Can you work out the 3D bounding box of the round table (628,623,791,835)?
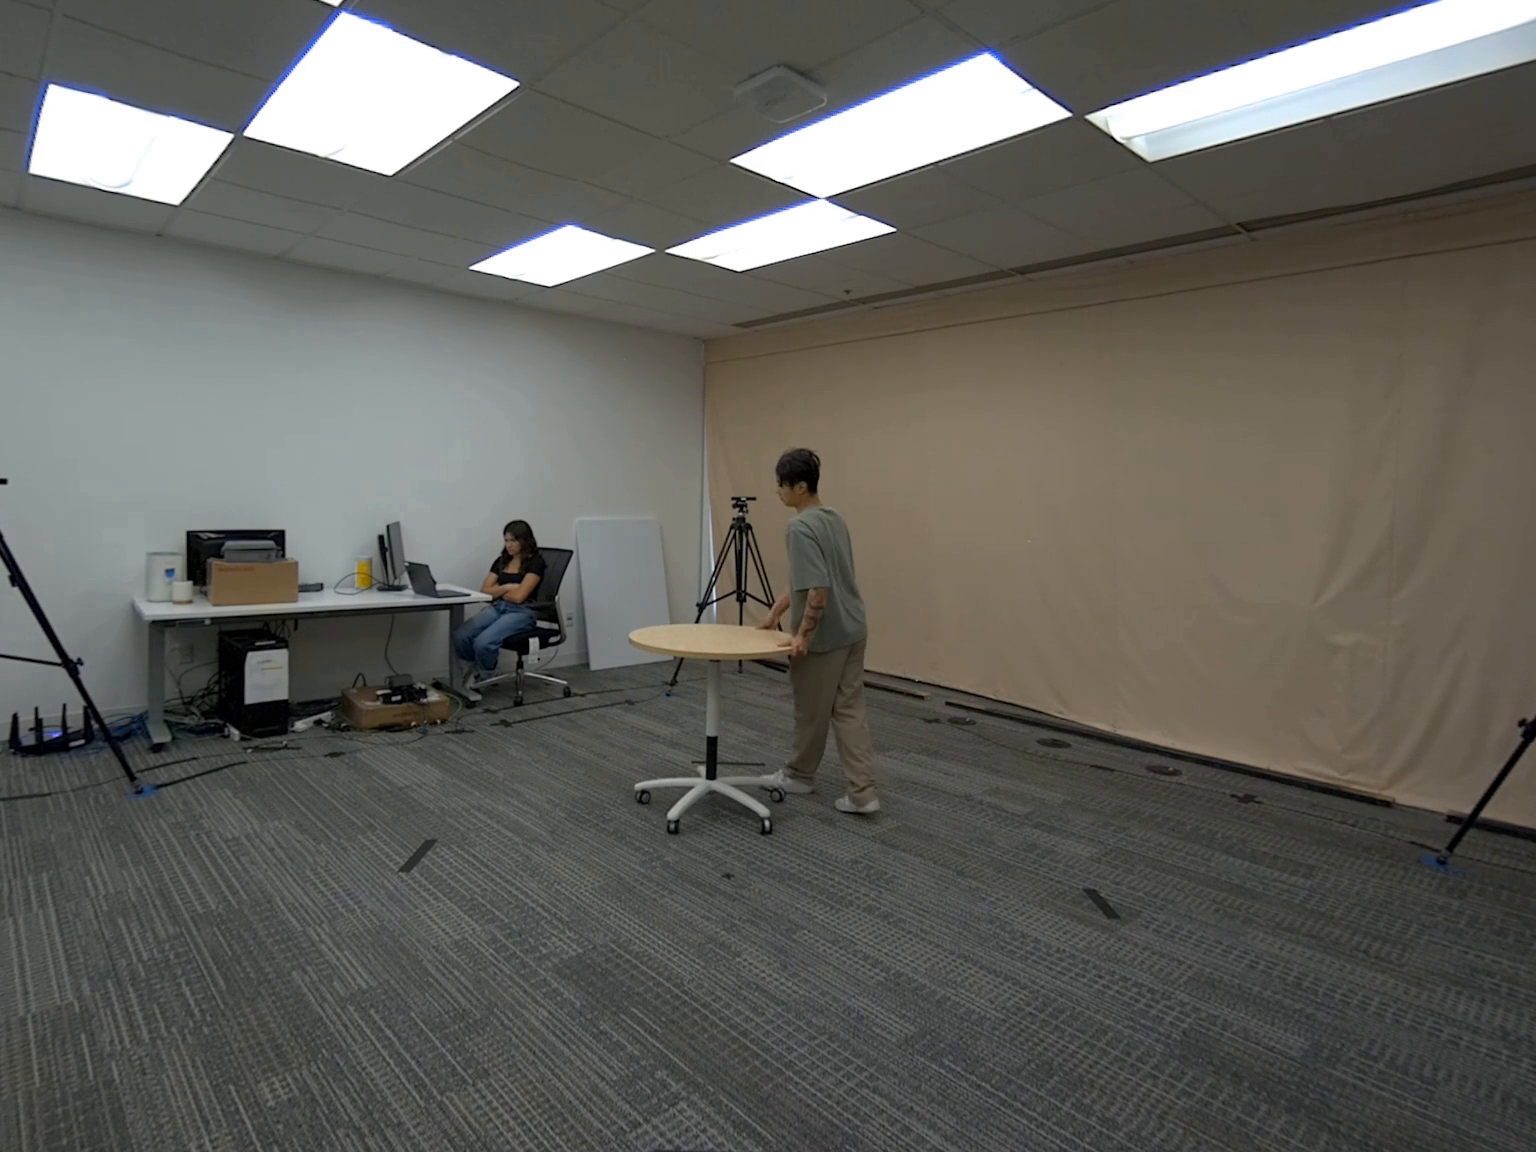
[{"bbox_3d":[-0.262,0.656,3.750,0.784,0.784,0.788,2,4,-2],"label":"round table"}]
